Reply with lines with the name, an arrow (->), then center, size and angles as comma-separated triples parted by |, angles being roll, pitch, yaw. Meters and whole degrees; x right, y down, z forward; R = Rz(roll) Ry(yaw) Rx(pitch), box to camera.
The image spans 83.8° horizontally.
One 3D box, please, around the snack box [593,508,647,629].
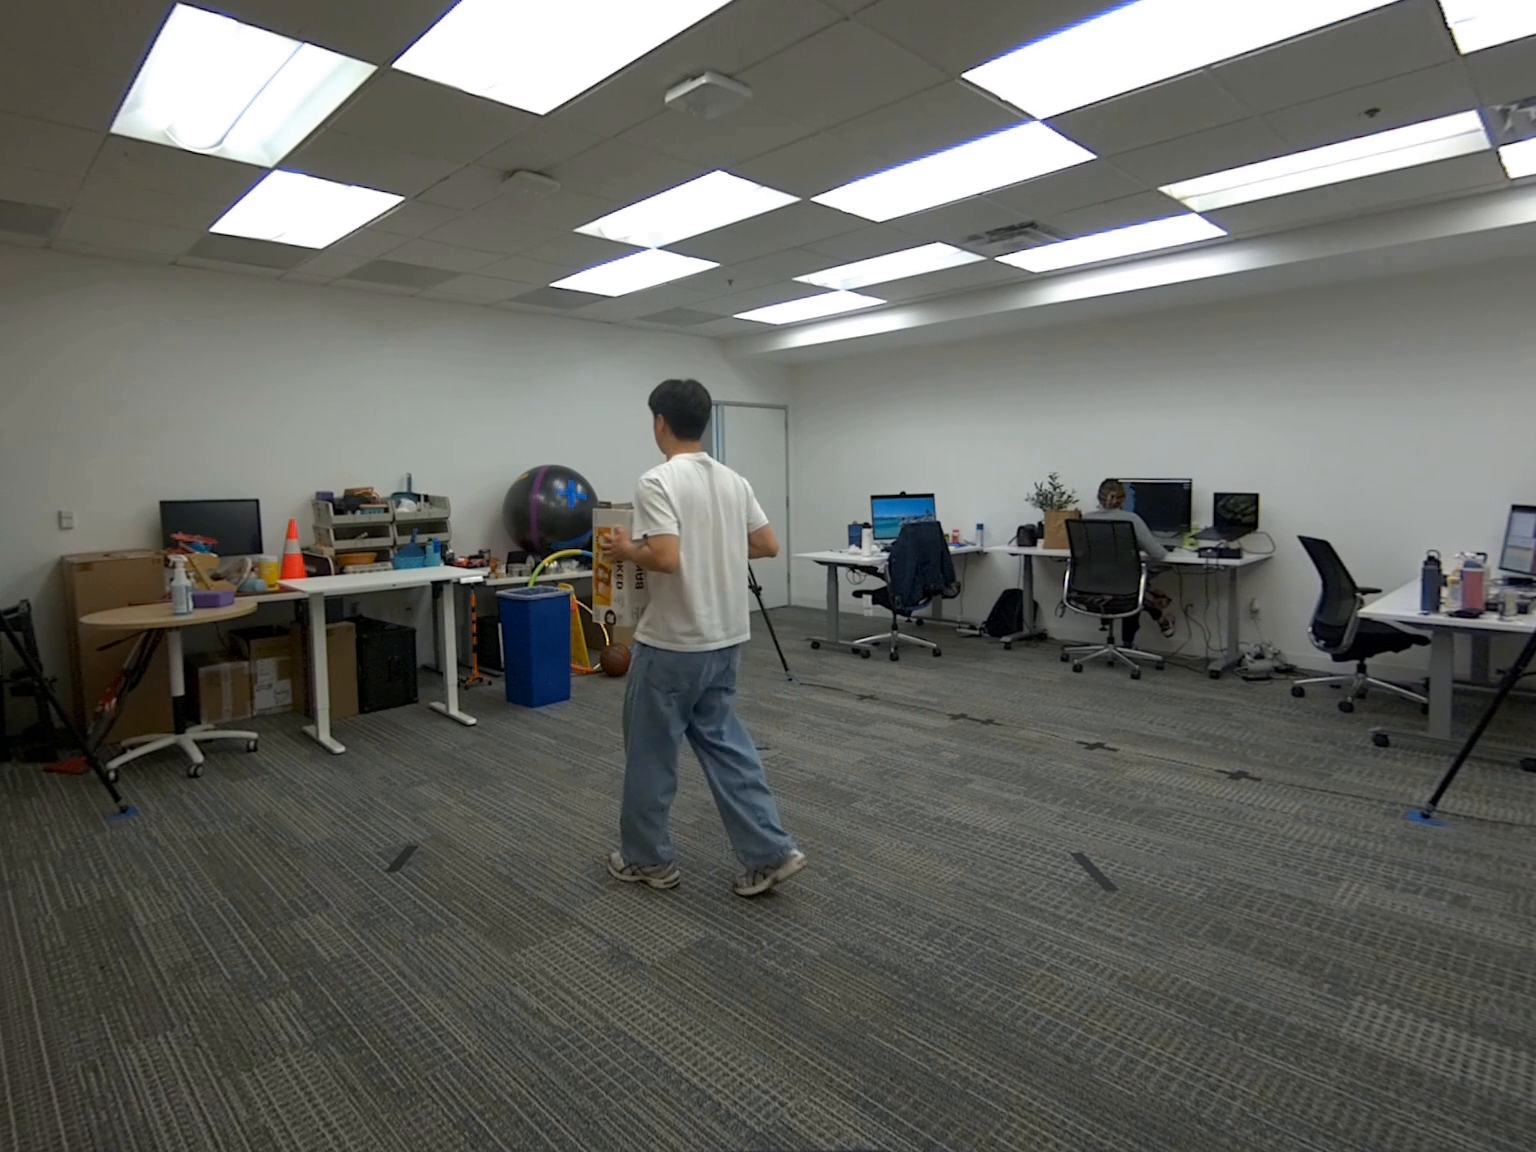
snack box -> -0.432, -0.041, 3.098 | 0.212, 0.404, 0.331 | 3, 4, 42
